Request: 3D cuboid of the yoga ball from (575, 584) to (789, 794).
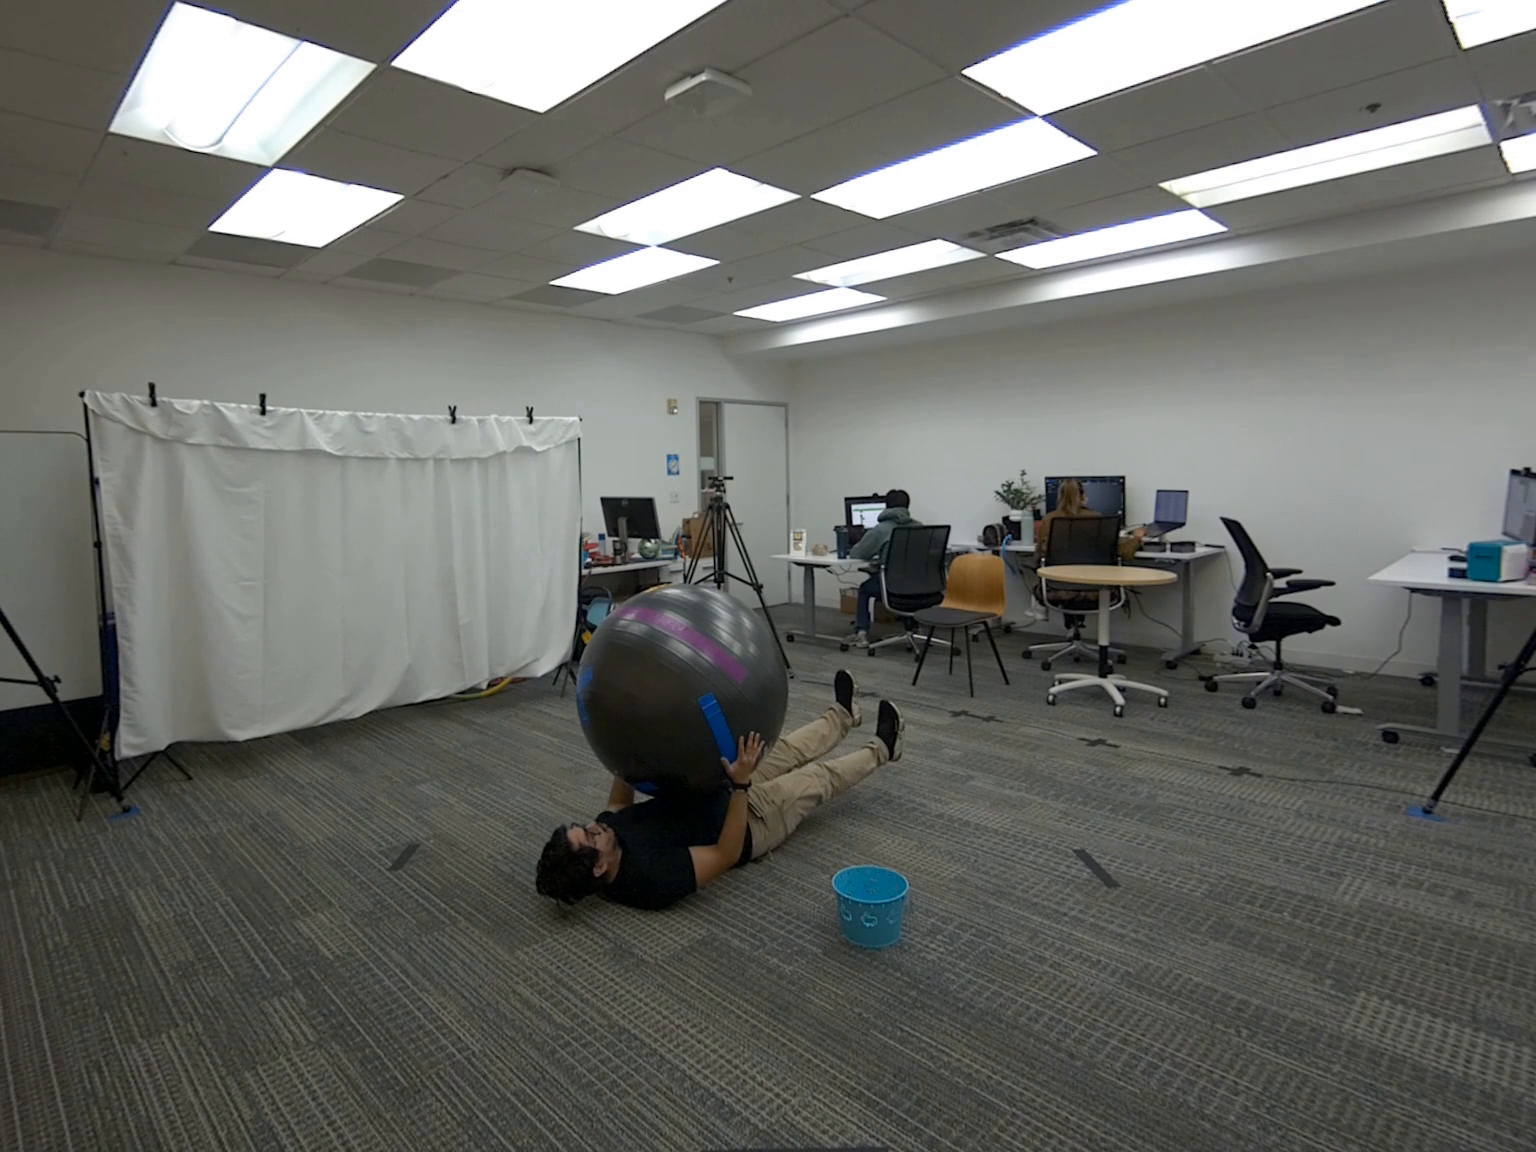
[{"bbox_3d":[-0.305,0.409,3.066,0.757,0.755,0.761,-1,4,-2],"label":"yoga ball"}]
